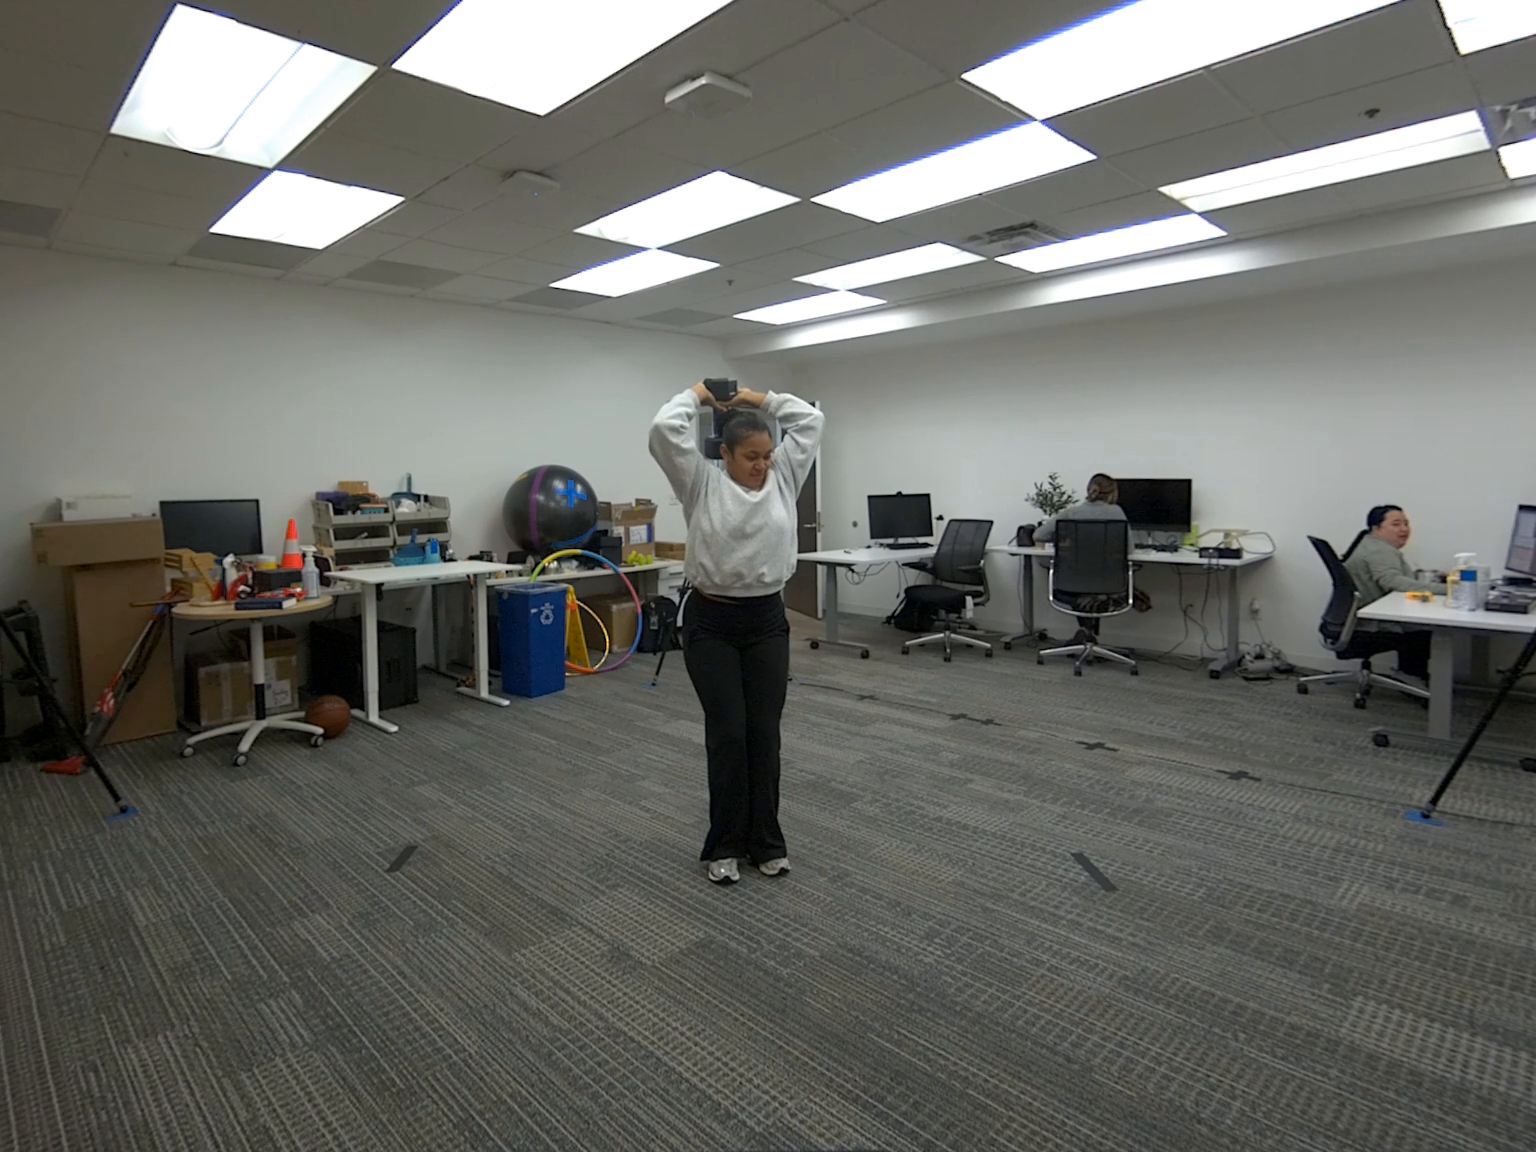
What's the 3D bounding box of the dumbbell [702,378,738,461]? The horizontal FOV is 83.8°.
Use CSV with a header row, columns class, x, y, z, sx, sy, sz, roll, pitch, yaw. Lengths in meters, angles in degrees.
class,x,y,z,sx,sy,sz,roll,pitch,yaw
dumbbell,-0.165,-0.584,3.100,0.111,0.290,0.121,6,15,28
